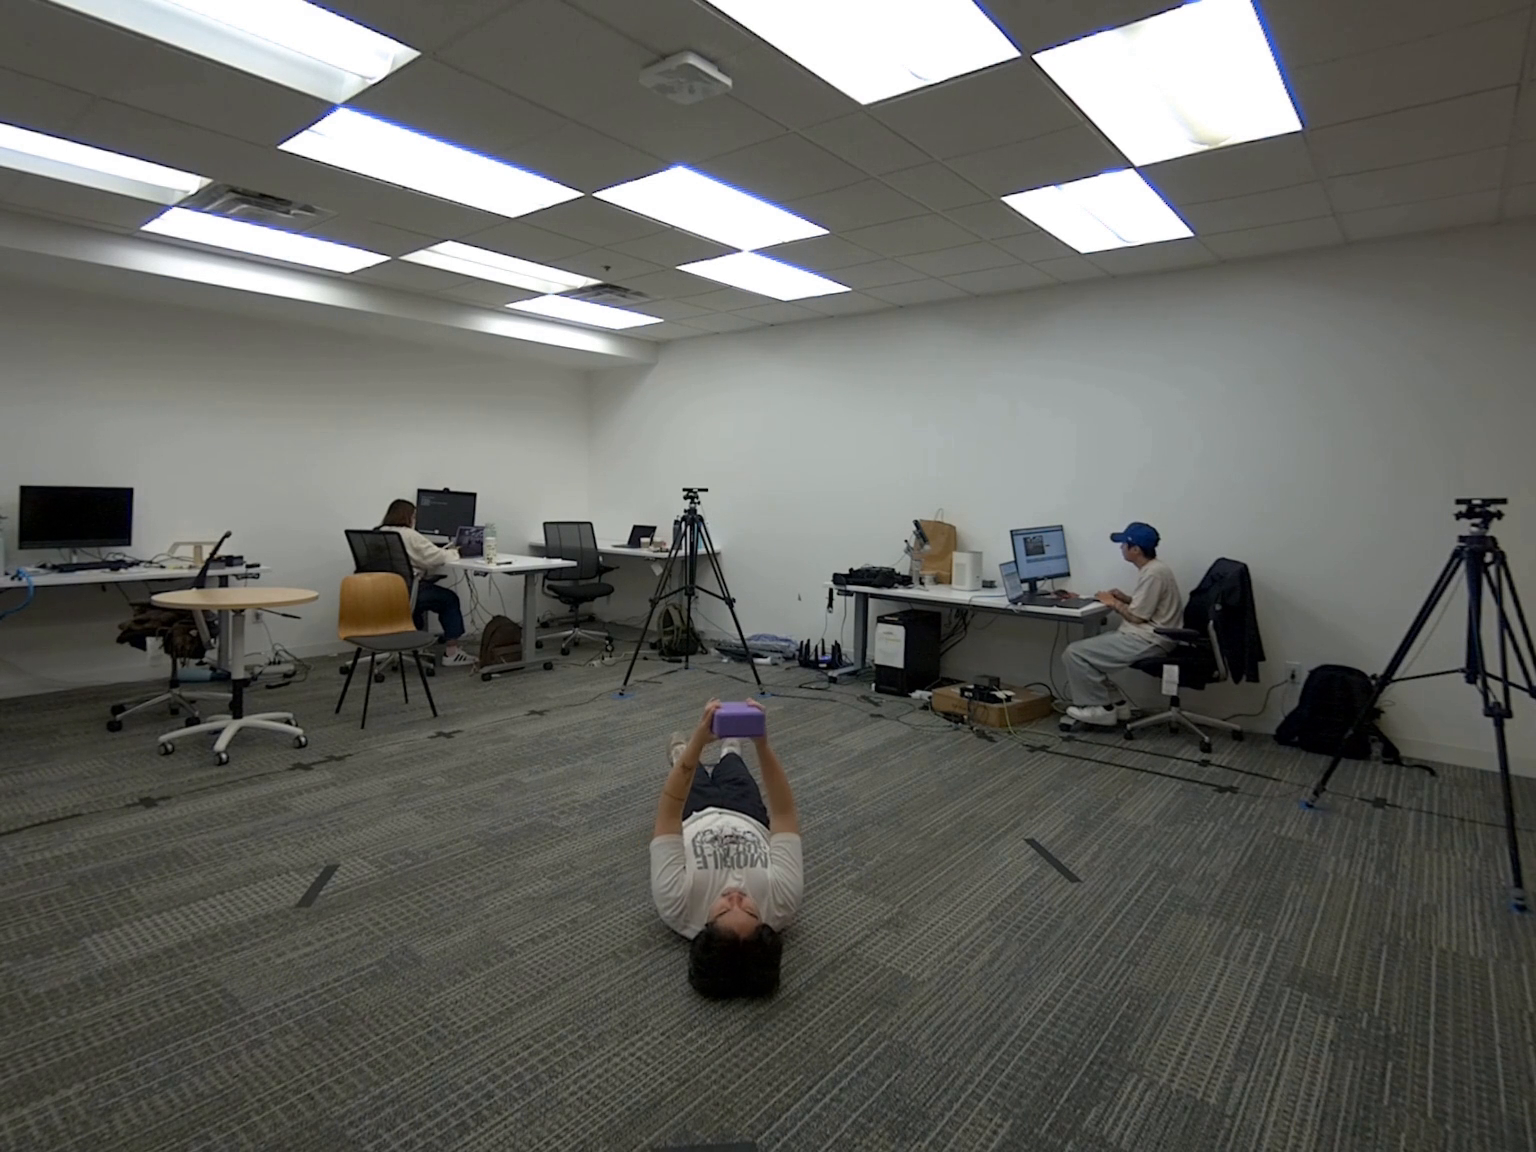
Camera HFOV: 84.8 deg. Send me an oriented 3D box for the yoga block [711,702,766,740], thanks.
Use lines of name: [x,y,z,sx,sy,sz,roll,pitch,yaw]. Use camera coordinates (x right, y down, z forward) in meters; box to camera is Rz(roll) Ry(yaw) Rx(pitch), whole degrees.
yoga block: [-0.121,0.451,2.676,0.148,0.076,0.231,0,0,-9]
